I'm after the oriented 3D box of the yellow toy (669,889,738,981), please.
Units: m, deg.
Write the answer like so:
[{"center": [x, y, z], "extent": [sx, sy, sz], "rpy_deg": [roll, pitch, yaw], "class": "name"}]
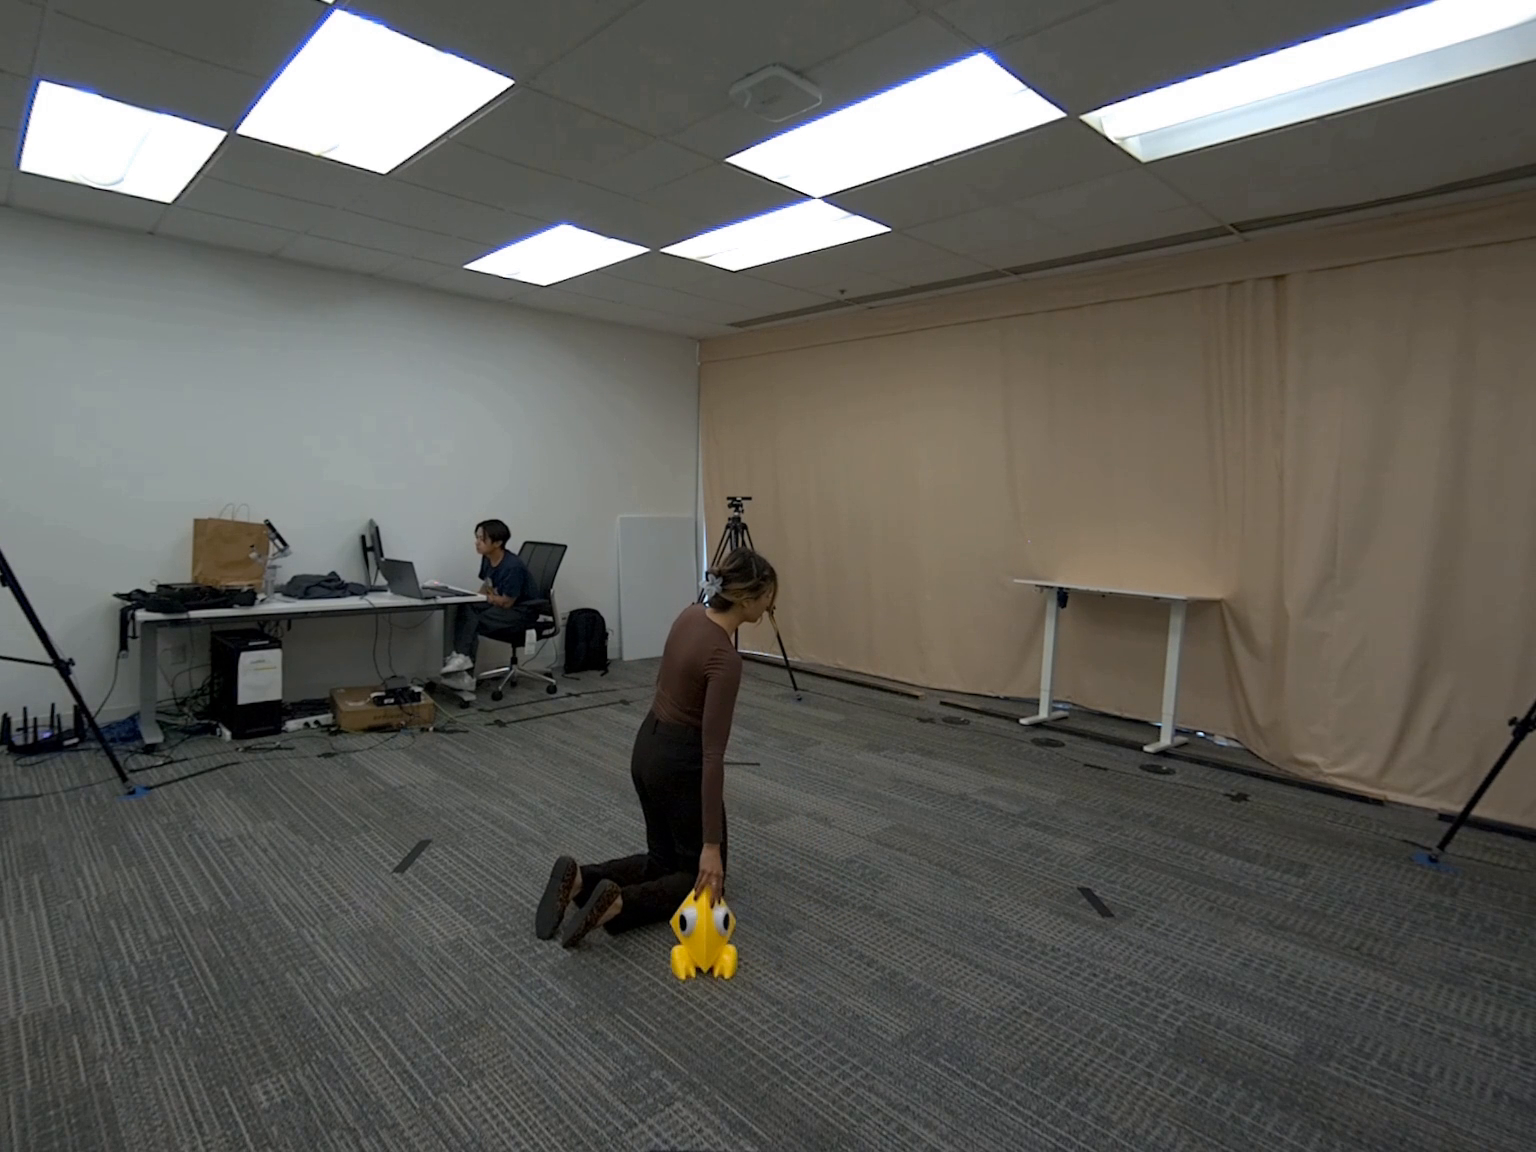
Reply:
[{"center": [-0.193, 1.050, 2.509], "extent": [0.204, 0.230, 0.194], "rpy_deg": [1, 5, -6], "class": "yellow toy"}]
